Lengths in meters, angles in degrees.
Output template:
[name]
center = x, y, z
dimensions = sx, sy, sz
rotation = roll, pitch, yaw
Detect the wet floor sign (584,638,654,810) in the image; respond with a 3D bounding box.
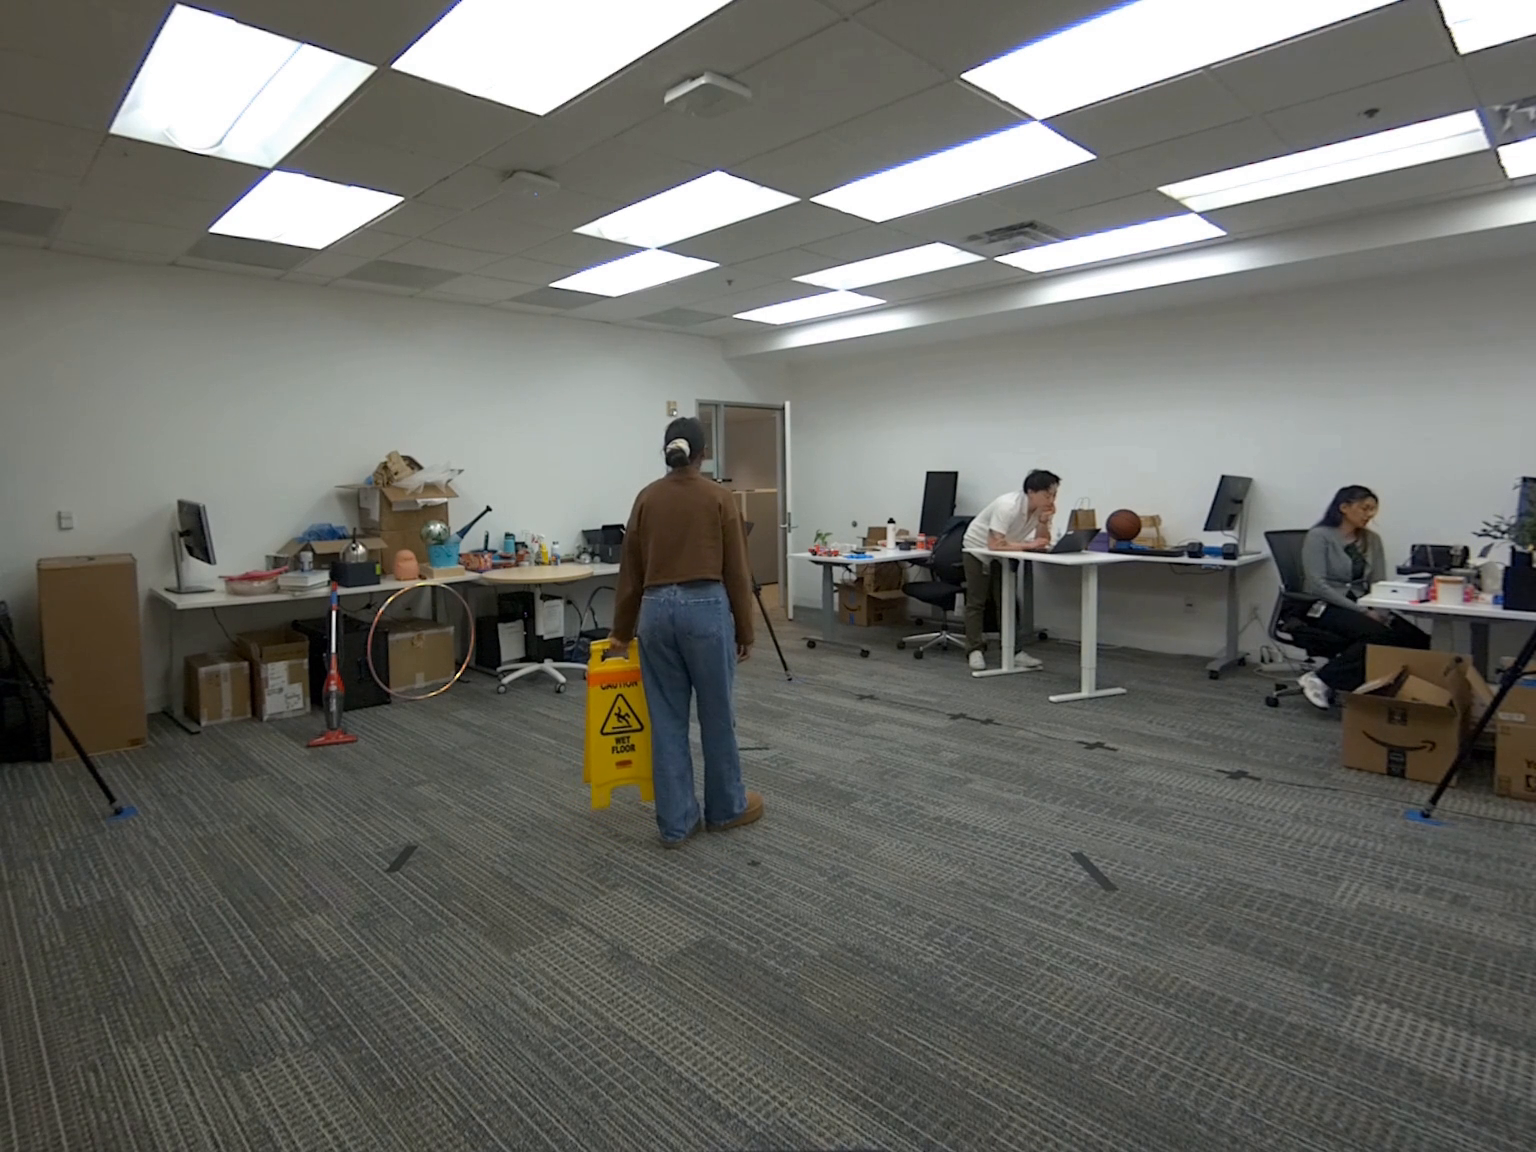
[wet floor sign]
center = -0.617, 0.578, 3.527
dimensions = 0.278, 0.641, 0.296
rotation = -5, 9, -17
